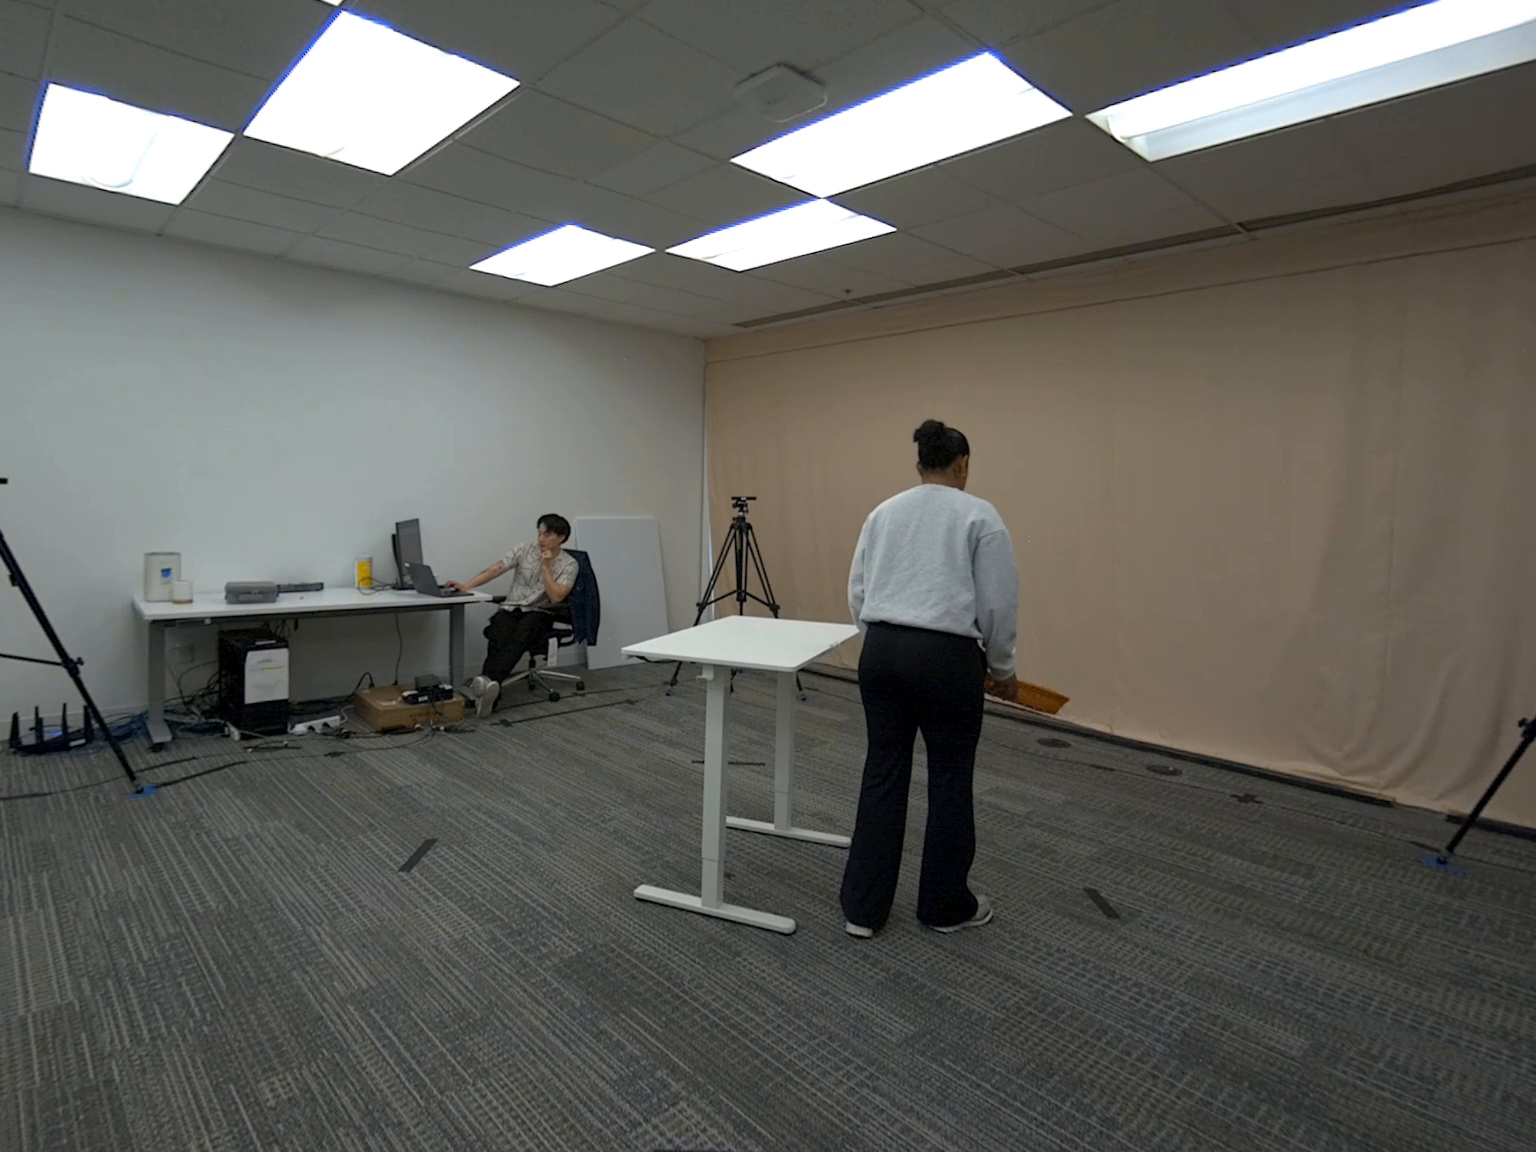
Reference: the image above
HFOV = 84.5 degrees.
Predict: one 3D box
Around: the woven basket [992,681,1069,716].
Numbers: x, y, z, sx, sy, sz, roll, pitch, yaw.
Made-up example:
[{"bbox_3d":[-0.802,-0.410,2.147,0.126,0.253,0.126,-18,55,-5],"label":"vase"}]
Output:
[{"bbox_3d":[0.861,0.405,2.918,0.348,0.073,0.253,18,-6,-7],"label":"woven basket"}]
